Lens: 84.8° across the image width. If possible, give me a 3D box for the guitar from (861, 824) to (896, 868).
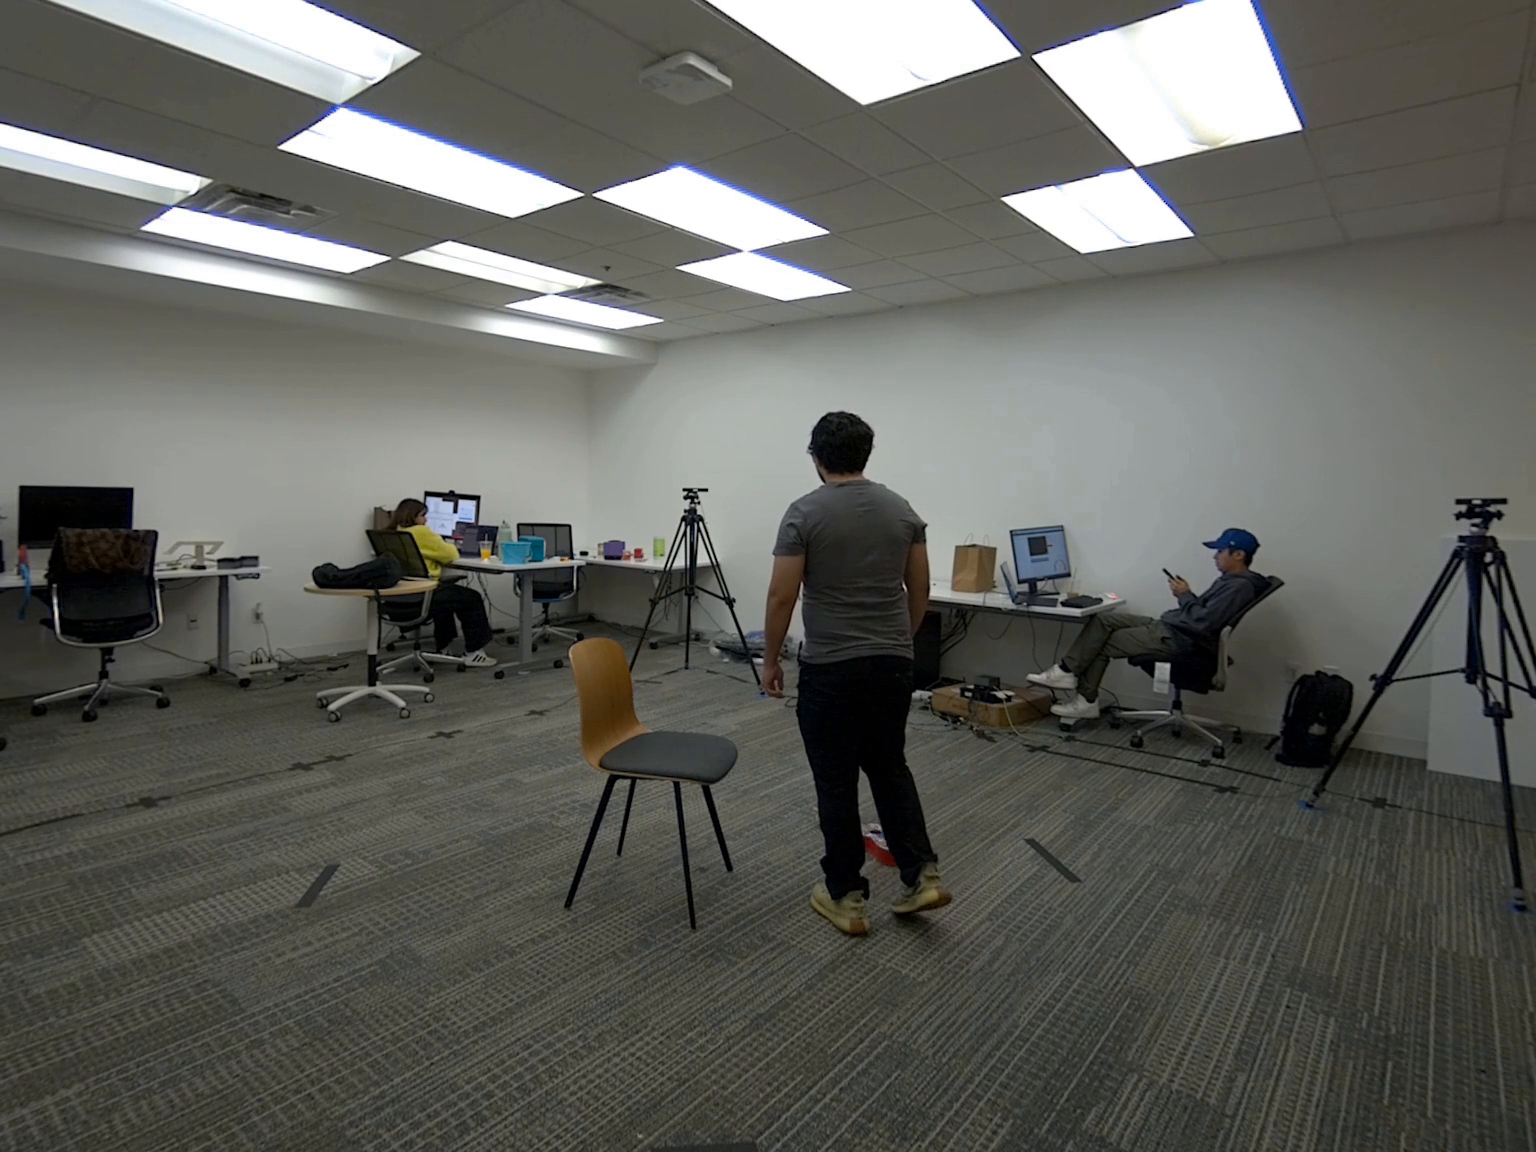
[{"bbox_3d":[0.391,1.017,3.407,0.188,0.070,0.514,-3,7,-32],"label":"guitar"}]
